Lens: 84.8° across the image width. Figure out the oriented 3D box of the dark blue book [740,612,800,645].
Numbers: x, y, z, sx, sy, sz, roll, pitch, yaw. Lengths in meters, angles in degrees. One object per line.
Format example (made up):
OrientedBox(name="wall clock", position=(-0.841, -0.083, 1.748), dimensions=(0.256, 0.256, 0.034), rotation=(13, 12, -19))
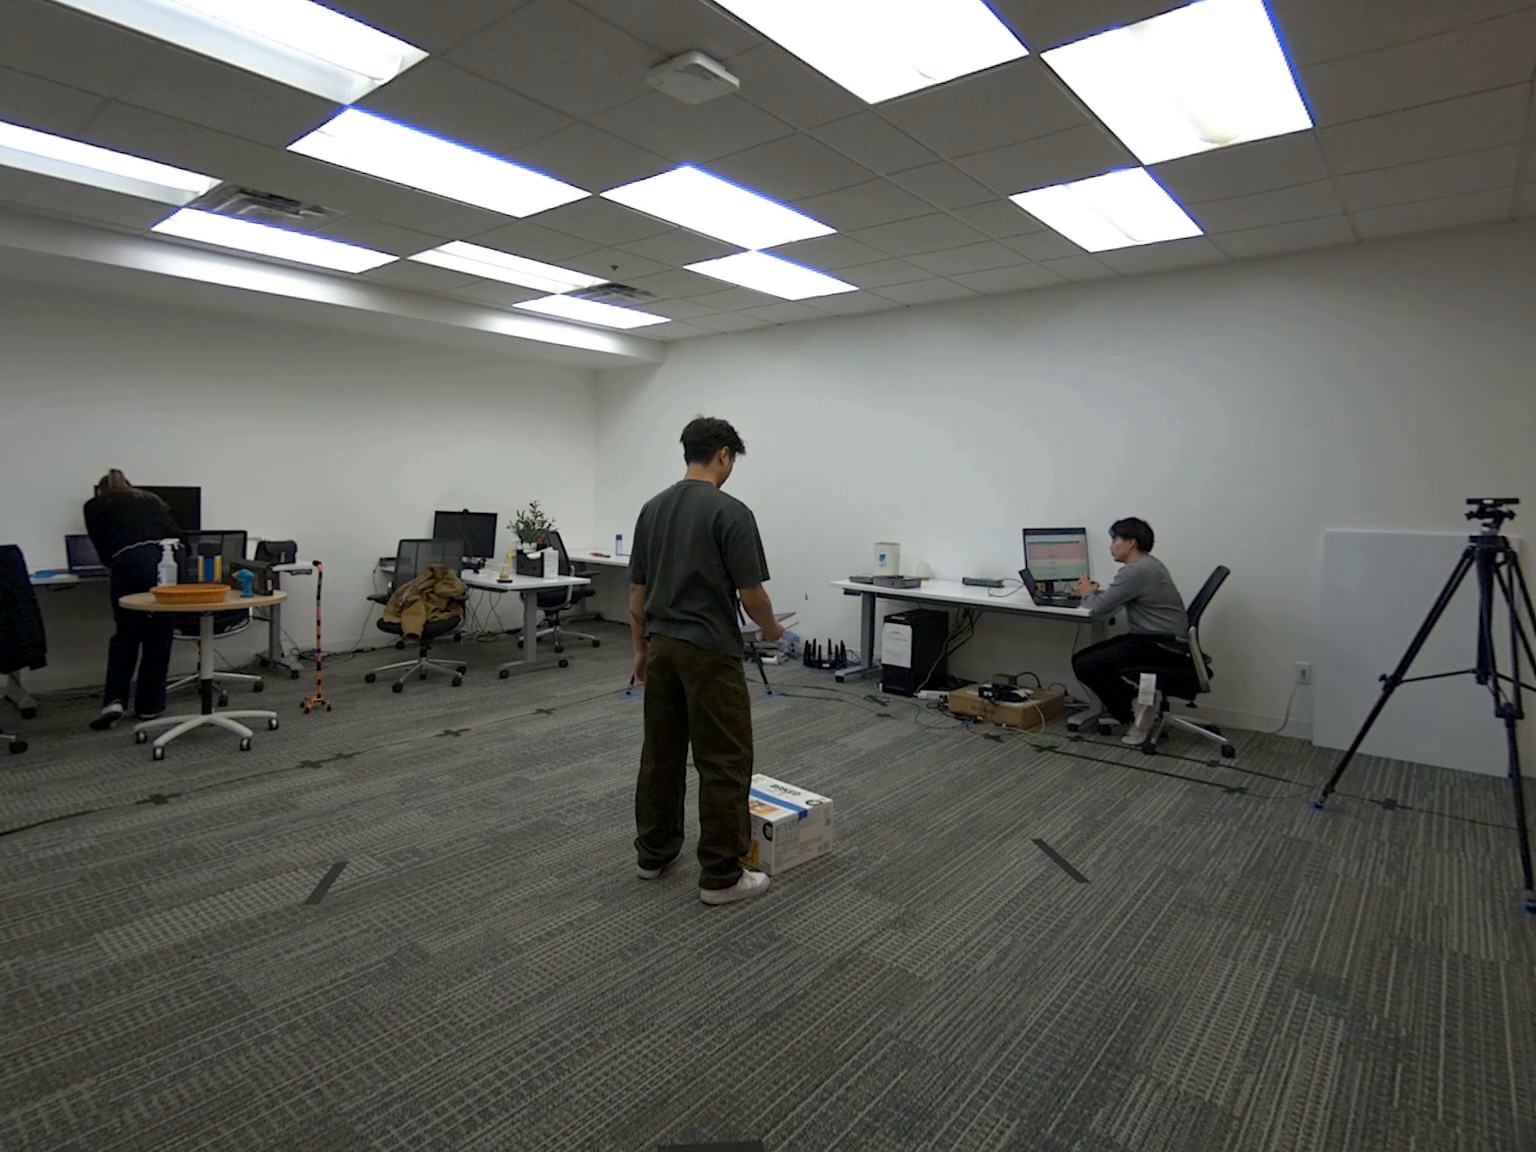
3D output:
OrientedBox(name="dark blue book", position=(-0.024, 0.200, 3.192), dimensions=(0.167, 0.045, 0.240), rotation=(-9, 8, 44))
